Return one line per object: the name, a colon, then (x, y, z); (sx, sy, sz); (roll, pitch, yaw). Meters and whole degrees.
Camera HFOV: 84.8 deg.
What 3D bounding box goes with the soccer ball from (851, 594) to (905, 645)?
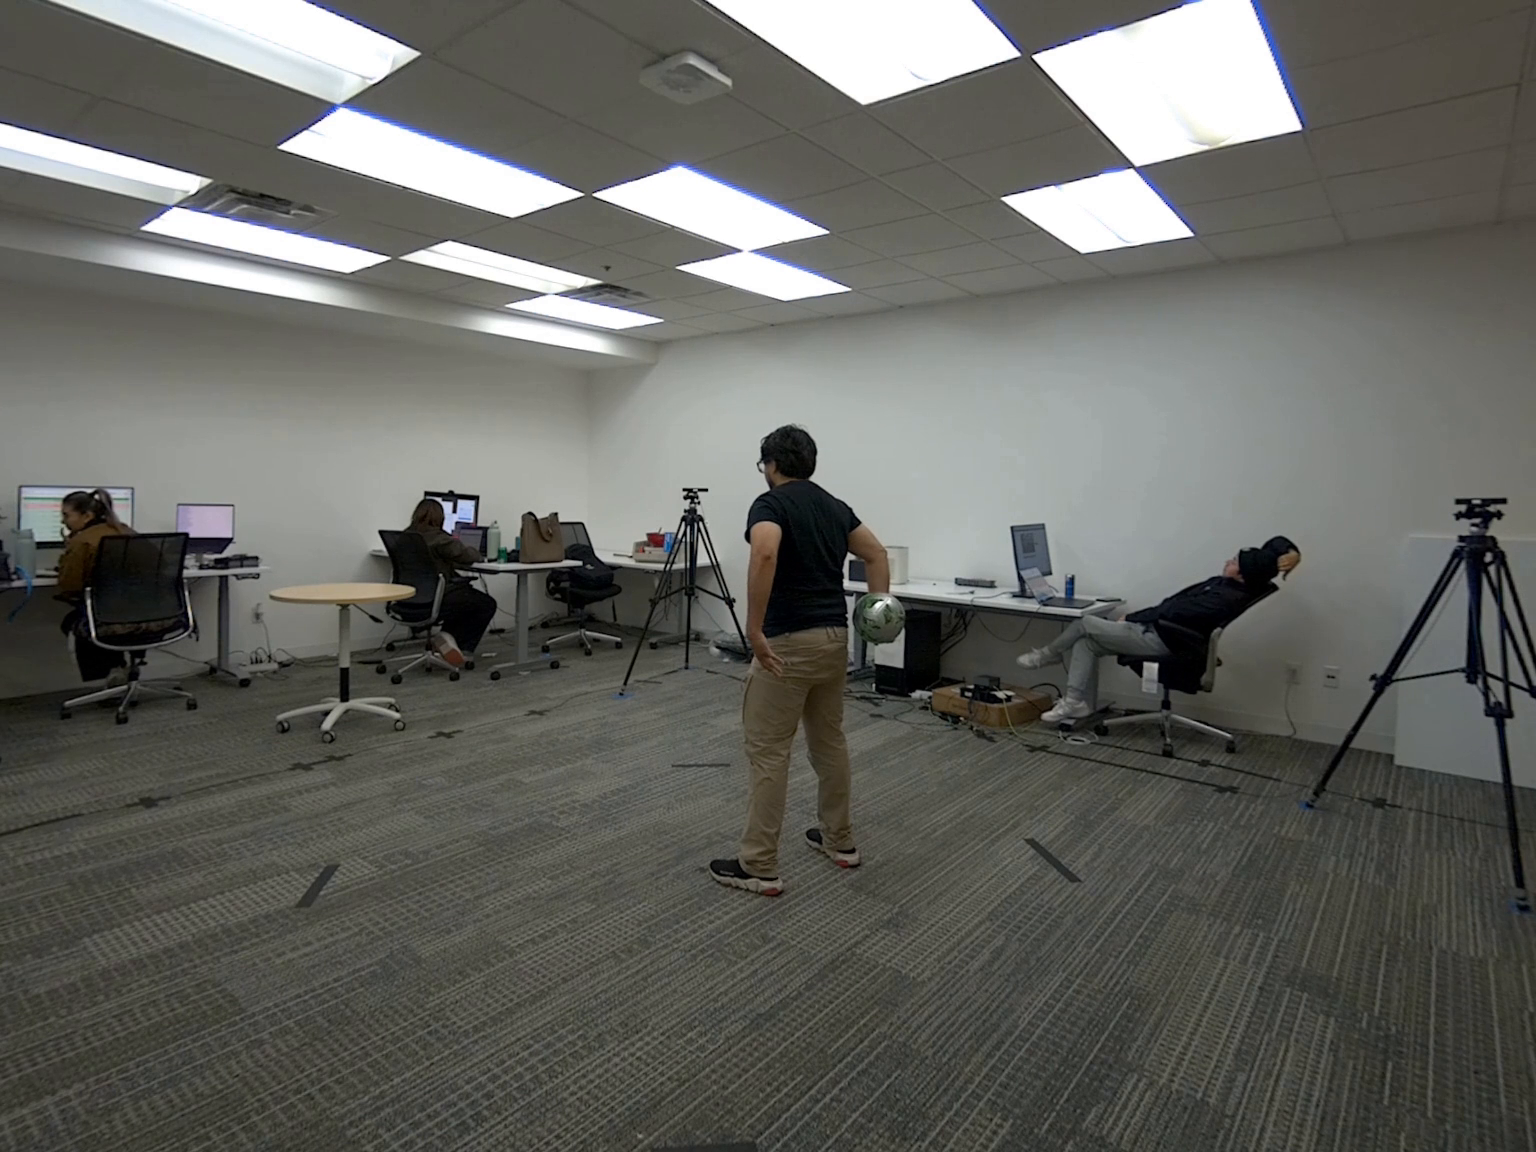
soccer ball: (0.385, 0.149, 3.065); (0.187, 0.187, 0.188); (1, 4, -2)
